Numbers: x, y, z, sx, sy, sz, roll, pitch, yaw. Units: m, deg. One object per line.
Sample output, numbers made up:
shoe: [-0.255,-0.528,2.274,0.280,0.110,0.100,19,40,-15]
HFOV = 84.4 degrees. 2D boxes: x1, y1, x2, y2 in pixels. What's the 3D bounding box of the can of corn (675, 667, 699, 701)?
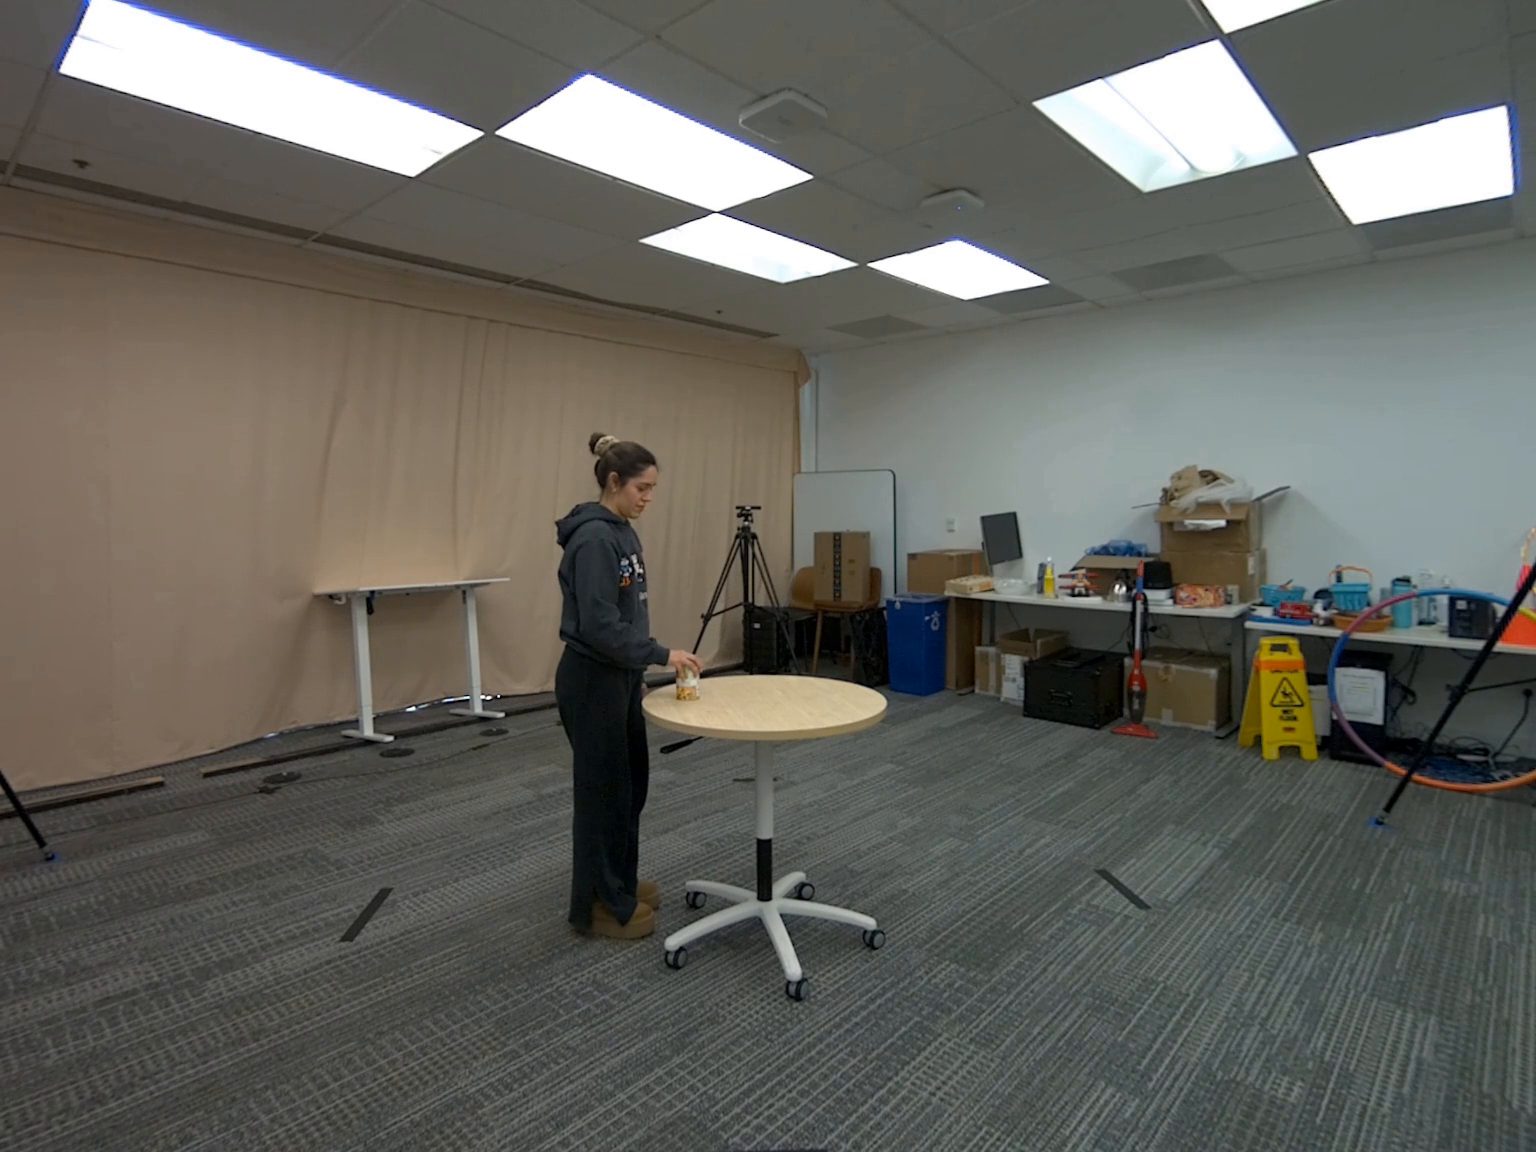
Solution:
can of corn: [-0.234,0.341,2.667,0.074,0.110,0.074,-5,5,-1]
